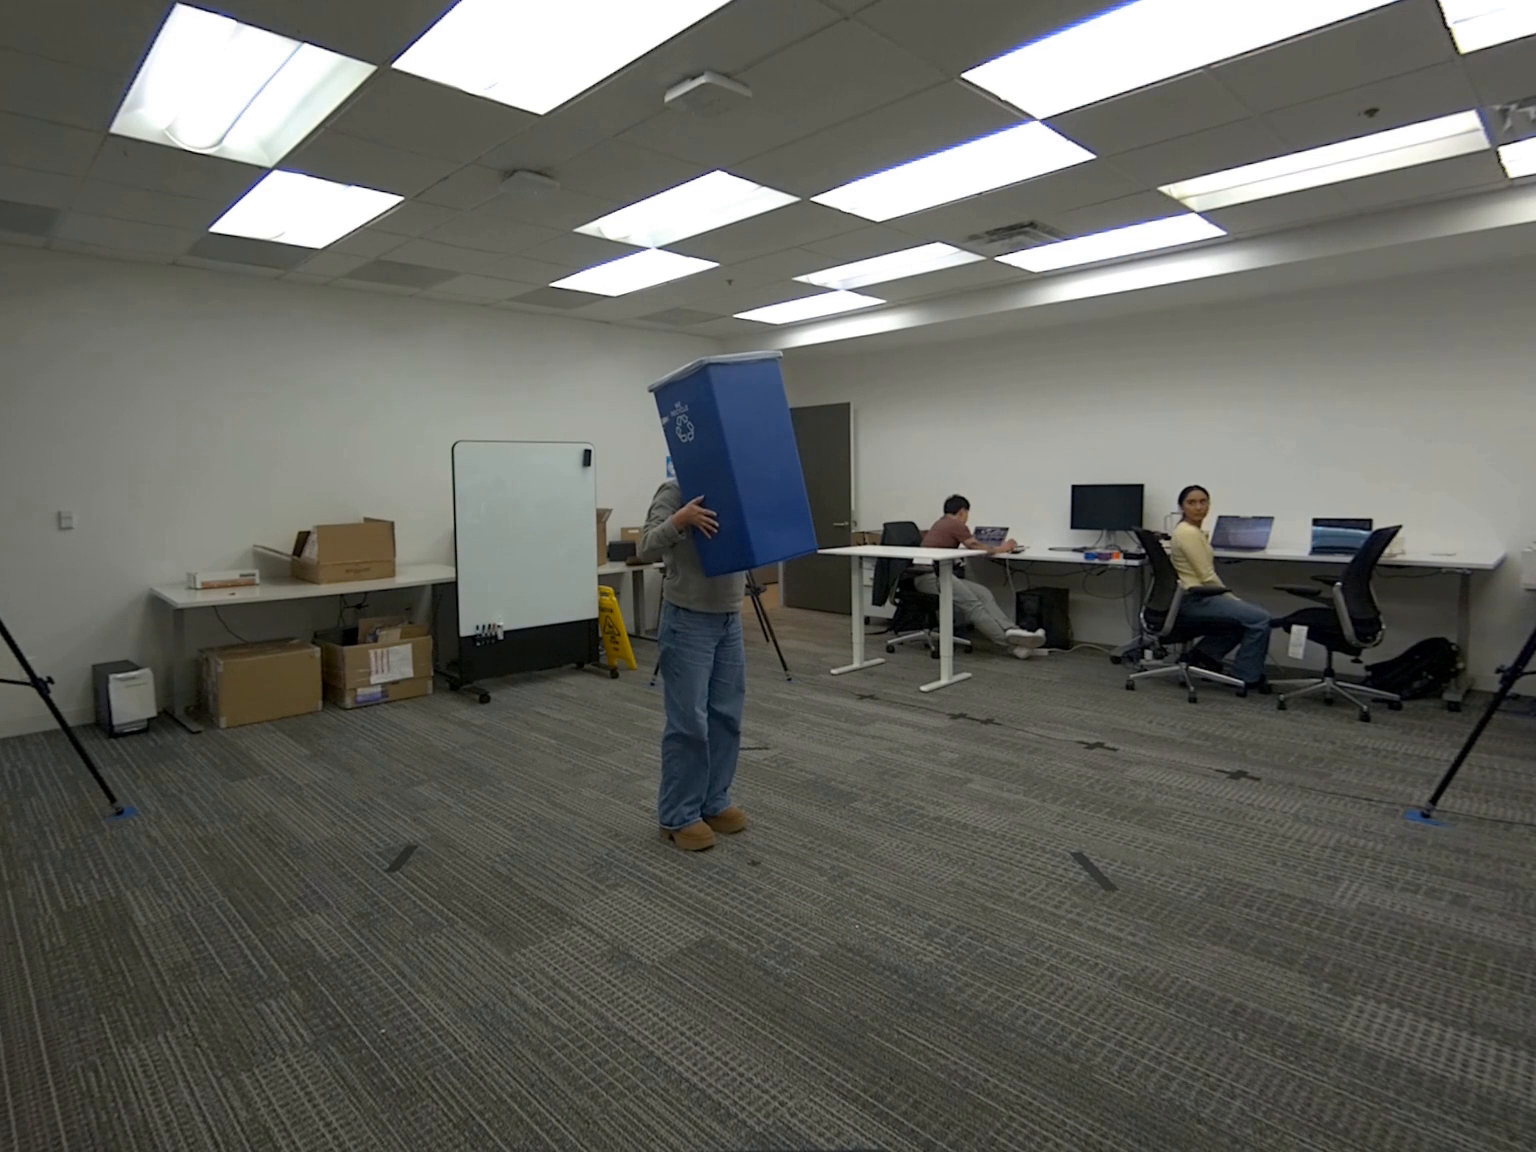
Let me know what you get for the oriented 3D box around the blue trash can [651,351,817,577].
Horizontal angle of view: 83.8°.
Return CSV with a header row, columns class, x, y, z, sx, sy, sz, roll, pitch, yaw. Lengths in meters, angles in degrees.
class,x,y,z,sx,sy,sz,roll,pitch,yaw
blue trash can,-0.103,-0.391,3.017,0.370,0.713,0.382,-15,1,-39
